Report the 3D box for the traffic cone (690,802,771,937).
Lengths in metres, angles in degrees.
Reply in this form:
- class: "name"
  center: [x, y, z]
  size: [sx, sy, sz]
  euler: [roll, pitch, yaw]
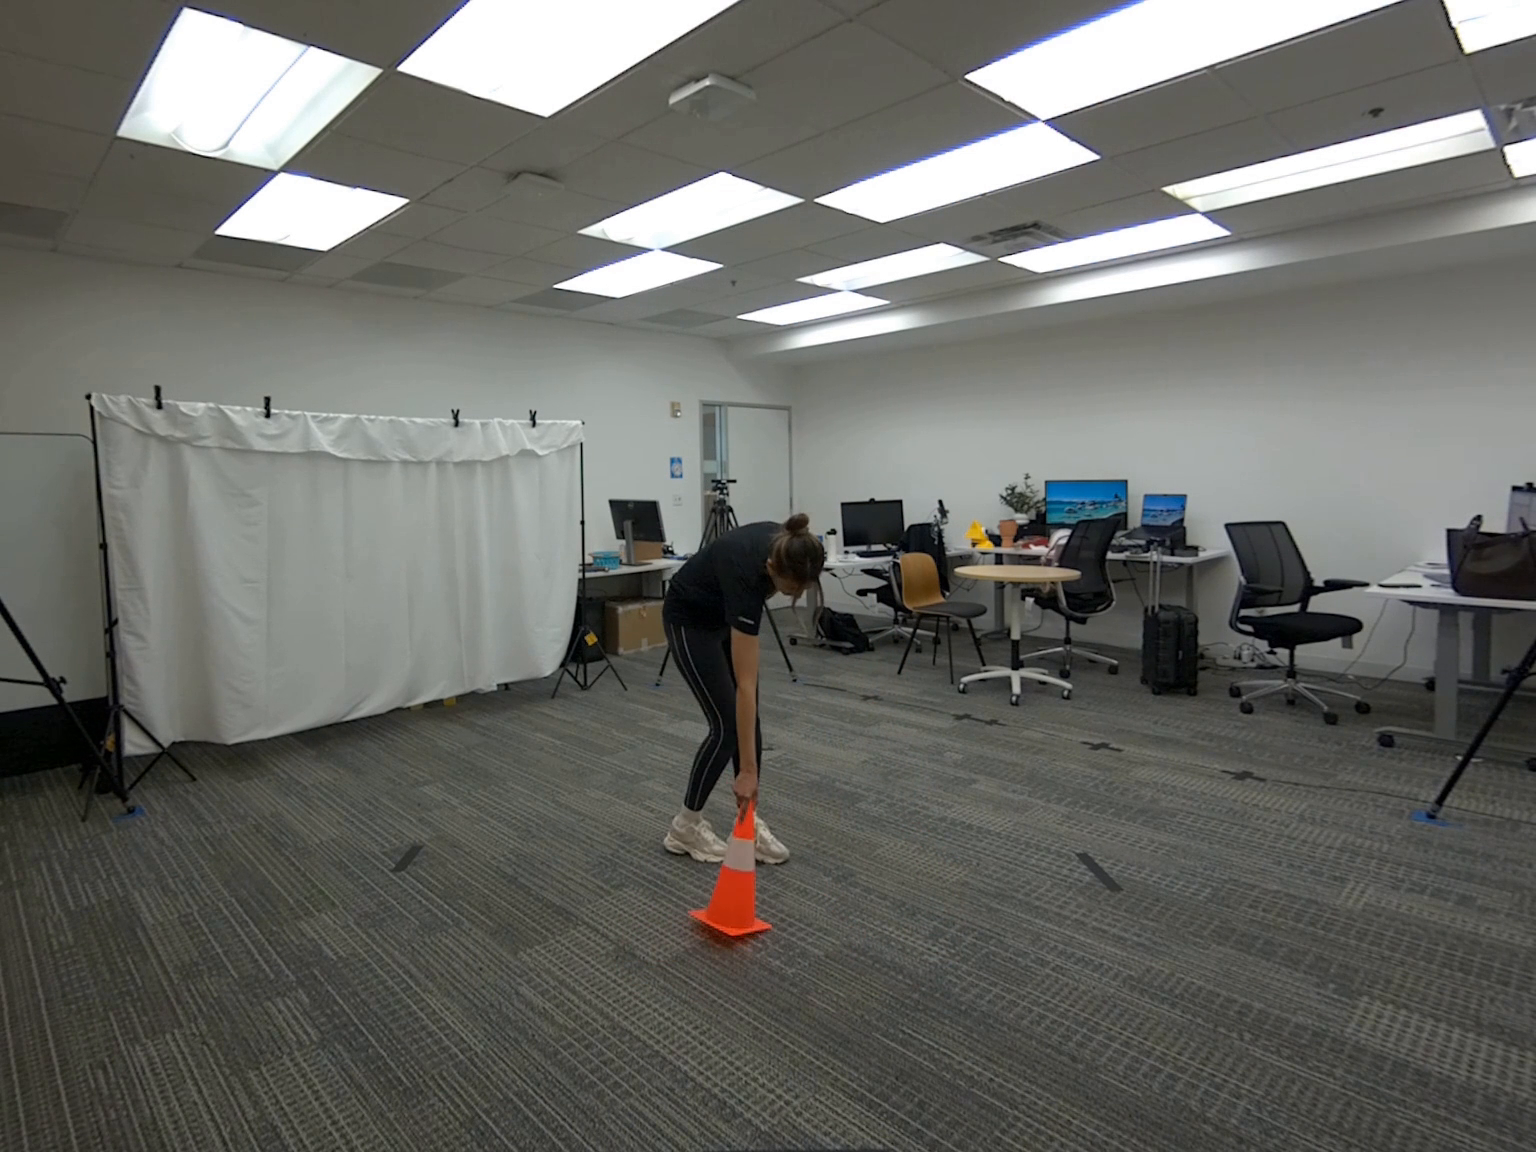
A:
- class: "traffic cone"
  center: [-0.081, 0.905, 2.686]
  size: [0.198, 0.385, 0.210]
  euler: [12, -4, -44]
